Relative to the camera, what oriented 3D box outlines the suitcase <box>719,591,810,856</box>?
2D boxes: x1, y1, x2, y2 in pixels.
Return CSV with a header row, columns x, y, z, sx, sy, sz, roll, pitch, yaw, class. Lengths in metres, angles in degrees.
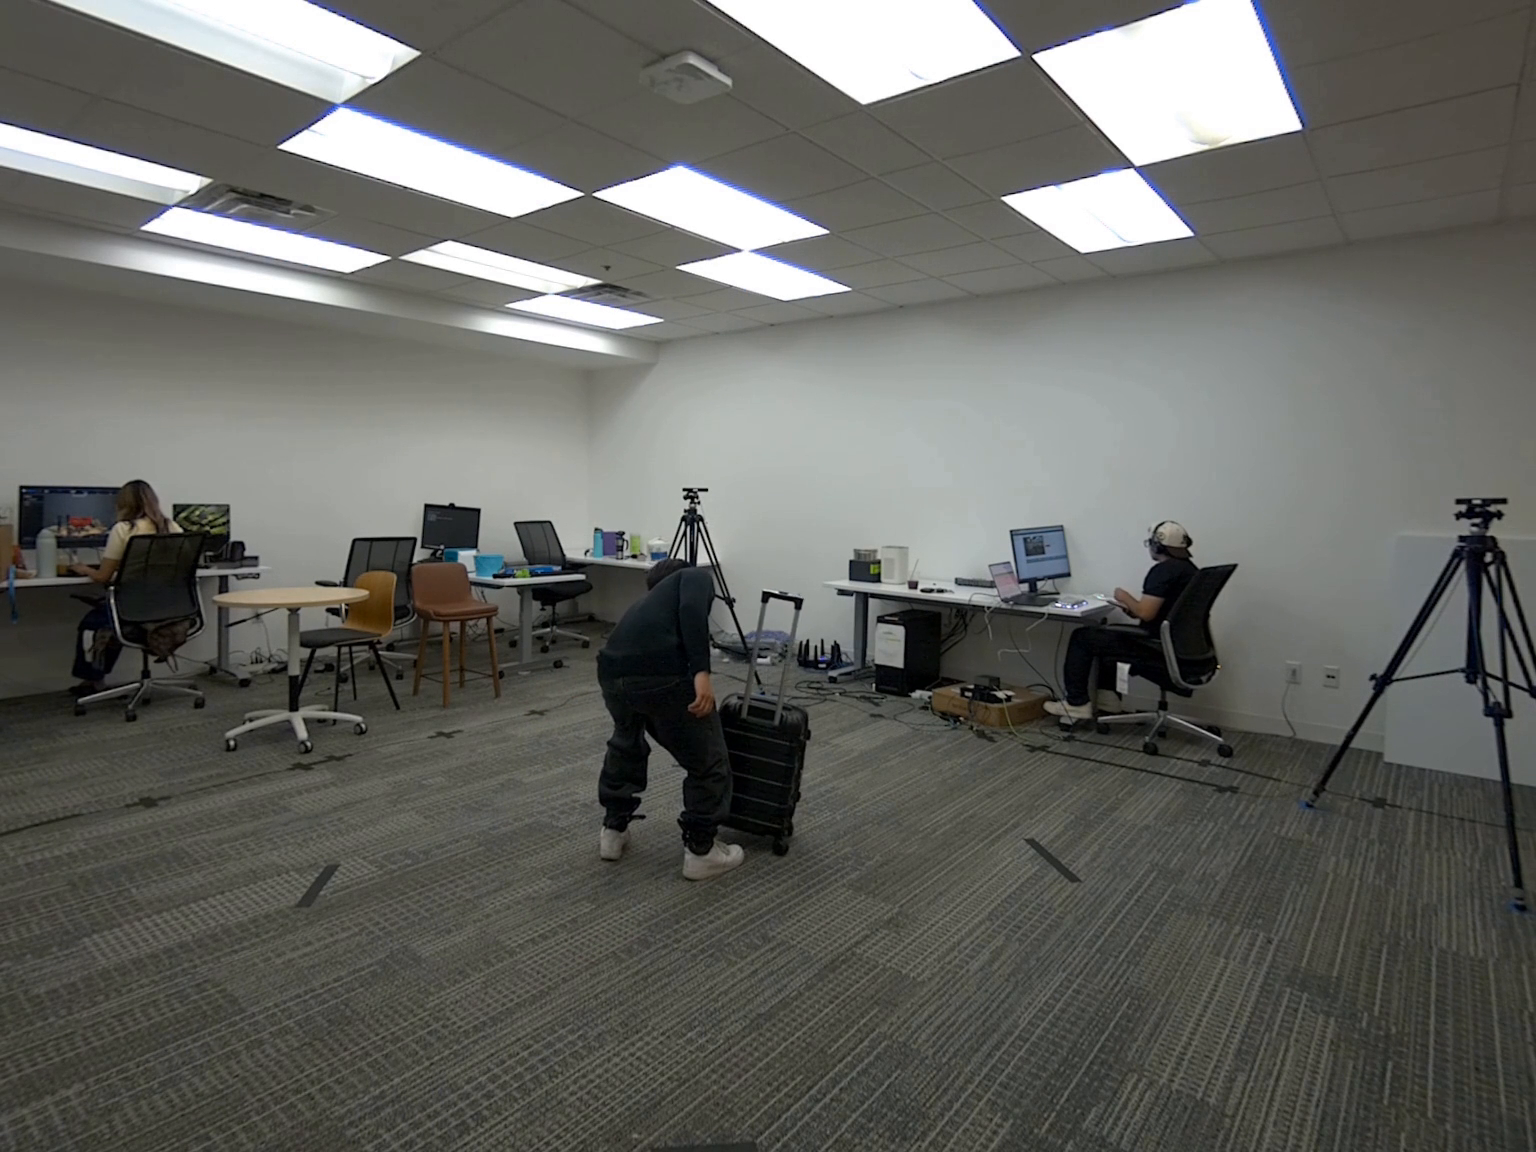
x,y,z,sx,sy,sz,roll,pitch,yaw,class
-0.018,0.550,3.381,0.387,0.977,0.255,10,2,6,suitcase
